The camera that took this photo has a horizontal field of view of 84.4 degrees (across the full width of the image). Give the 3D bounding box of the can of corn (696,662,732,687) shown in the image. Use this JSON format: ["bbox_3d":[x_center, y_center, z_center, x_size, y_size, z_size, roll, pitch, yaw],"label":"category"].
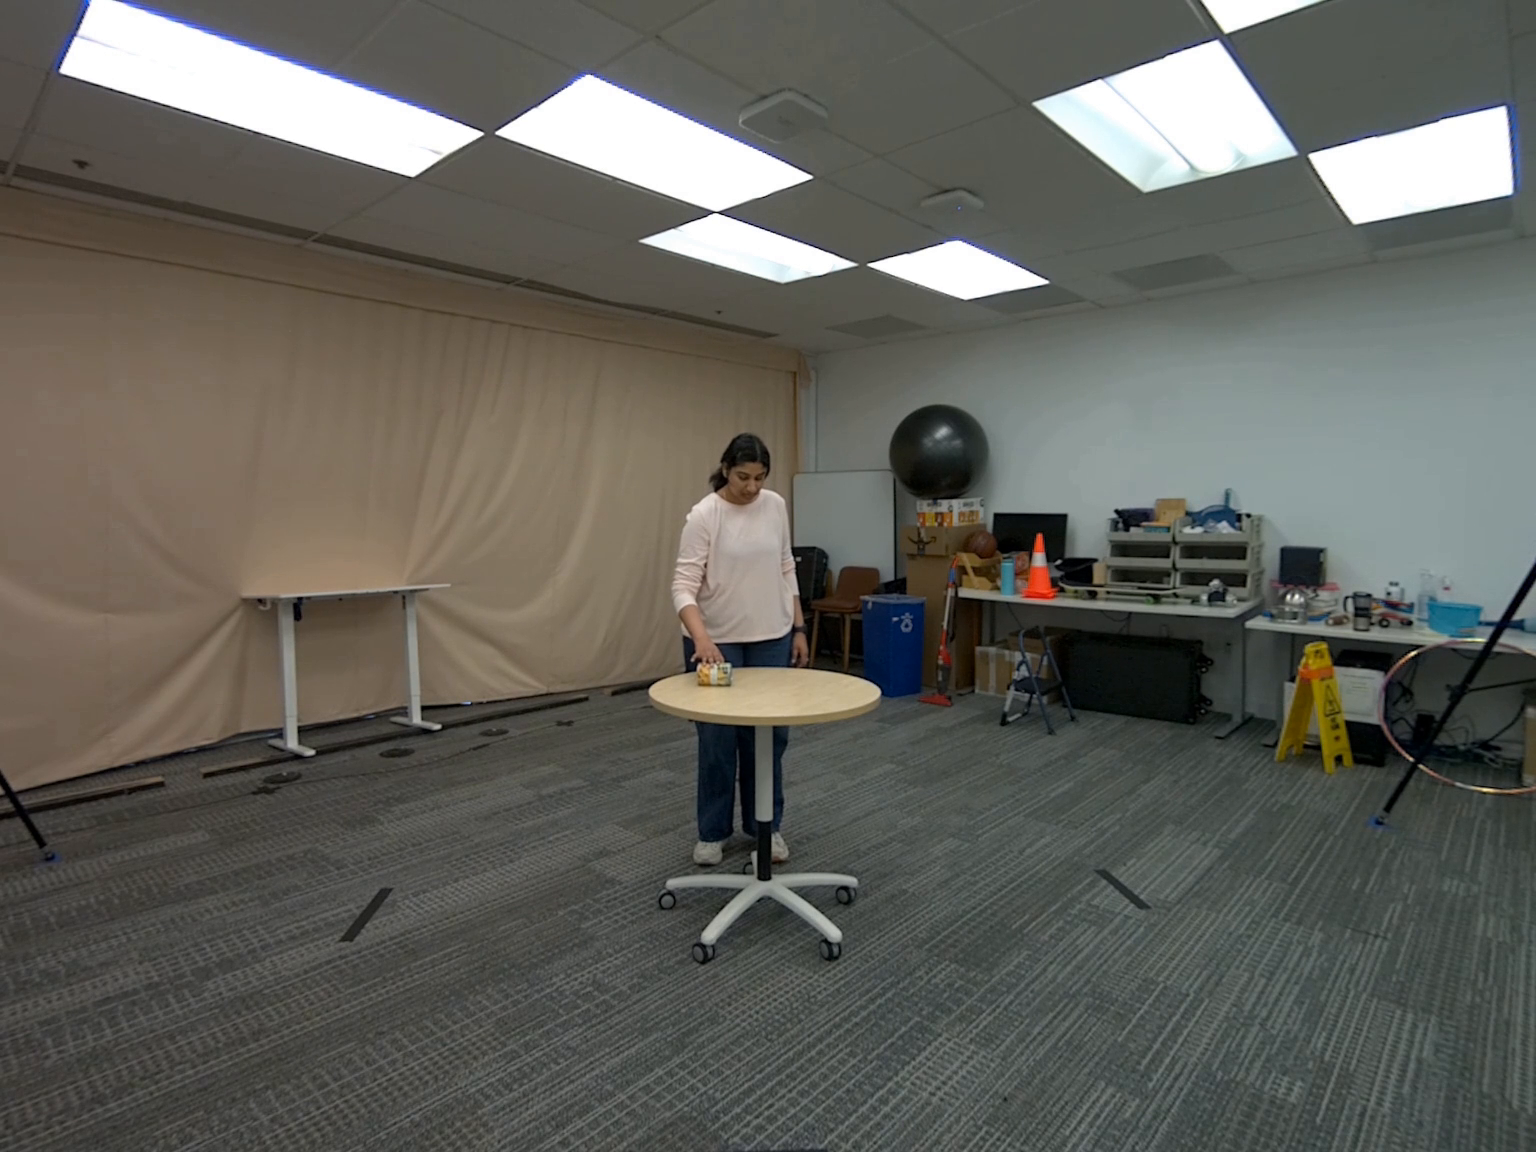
[{"bbox_3d":[-0.183,0.334,2.867,0.111,0.074,0.074,-2,4,1],"label":"can of corn"}]
